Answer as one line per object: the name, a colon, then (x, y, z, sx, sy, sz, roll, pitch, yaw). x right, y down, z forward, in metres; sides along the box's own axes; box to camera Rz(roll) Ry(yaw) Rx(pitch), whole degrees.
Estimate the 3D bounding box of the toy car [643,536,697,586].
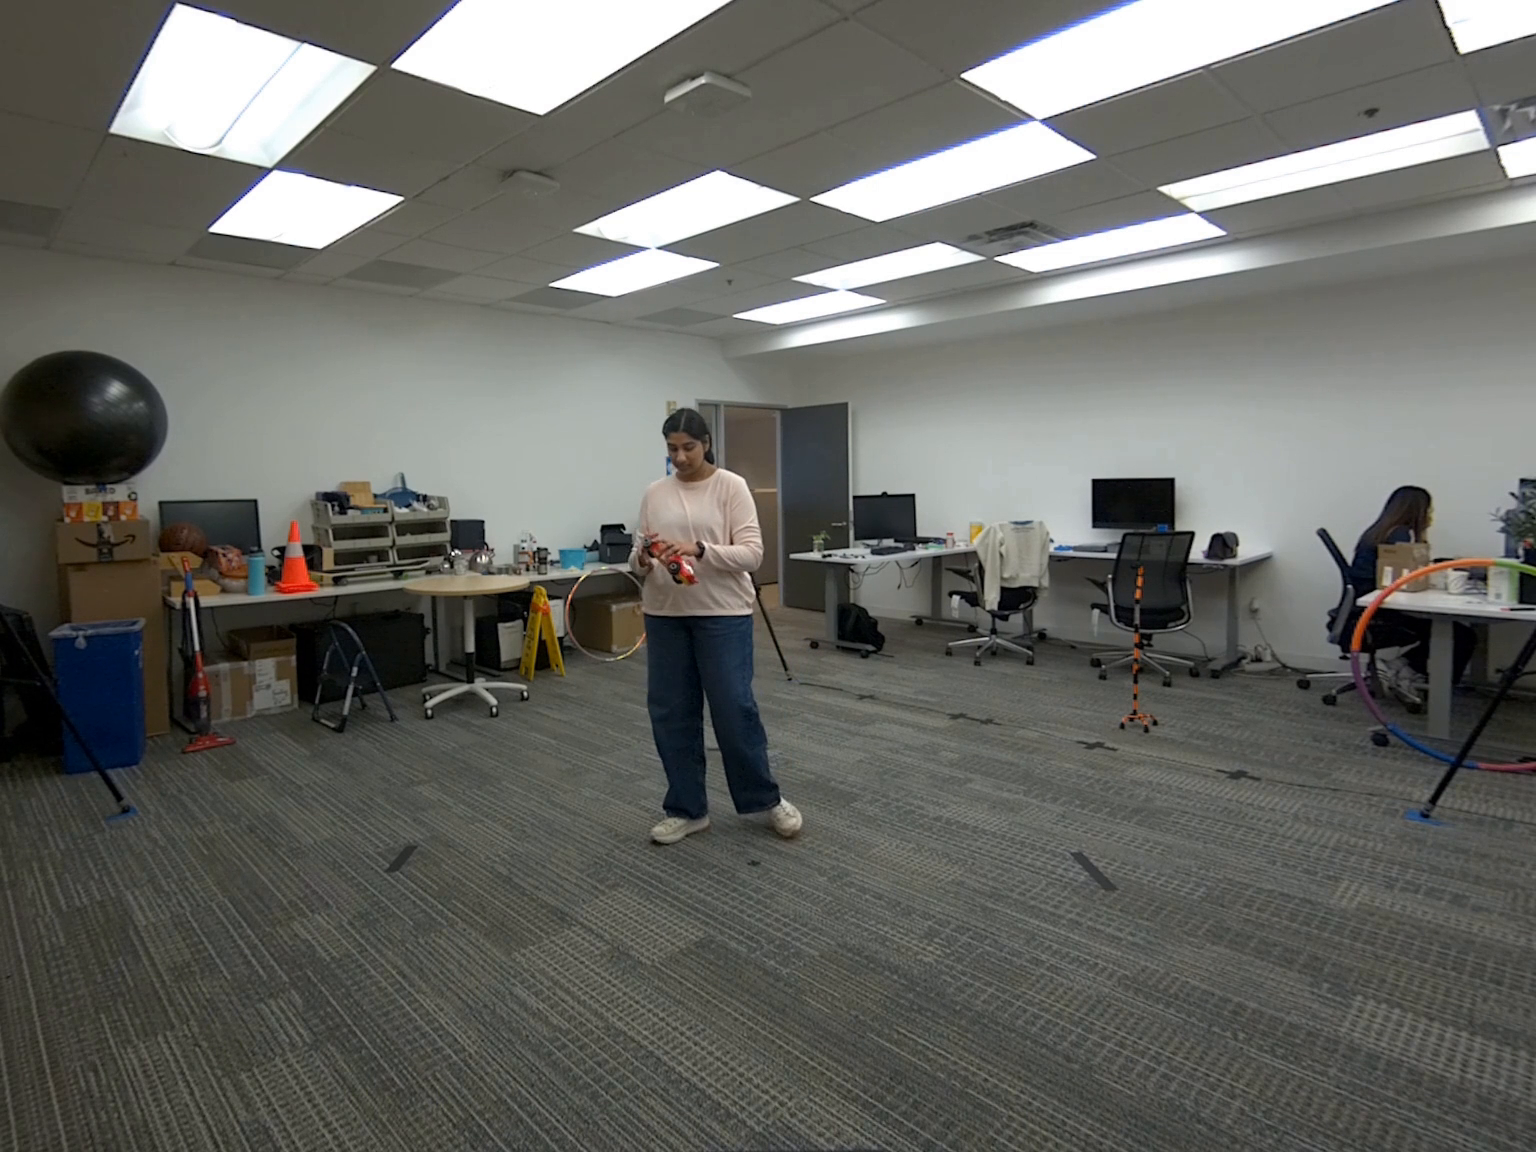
toy car: (-0.348, -0.047, 3.066, 0.262, 0.083, 0.126, 33, -19, 22)
